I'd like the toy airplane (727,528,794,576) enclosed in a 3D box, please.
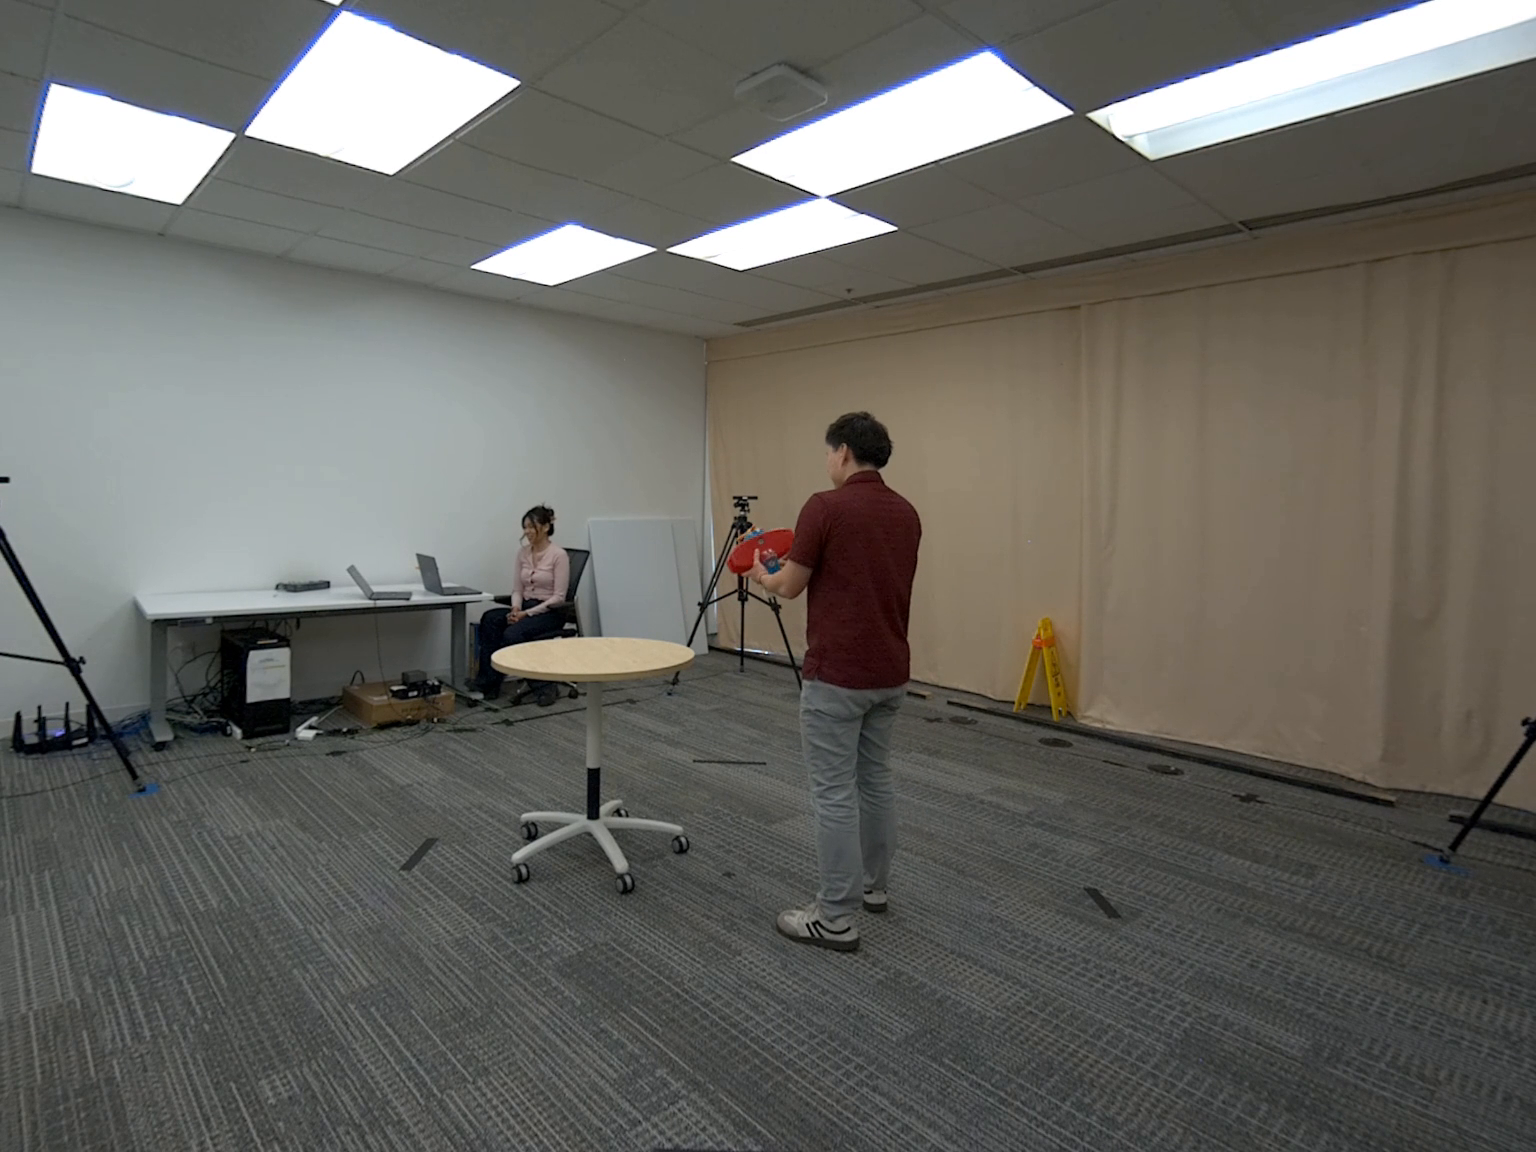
[{"bbox_3d":[0.009,-0.061,3.060,0.264,0.251,0.153,31,-29,16],"label":"toy airplane"}]
